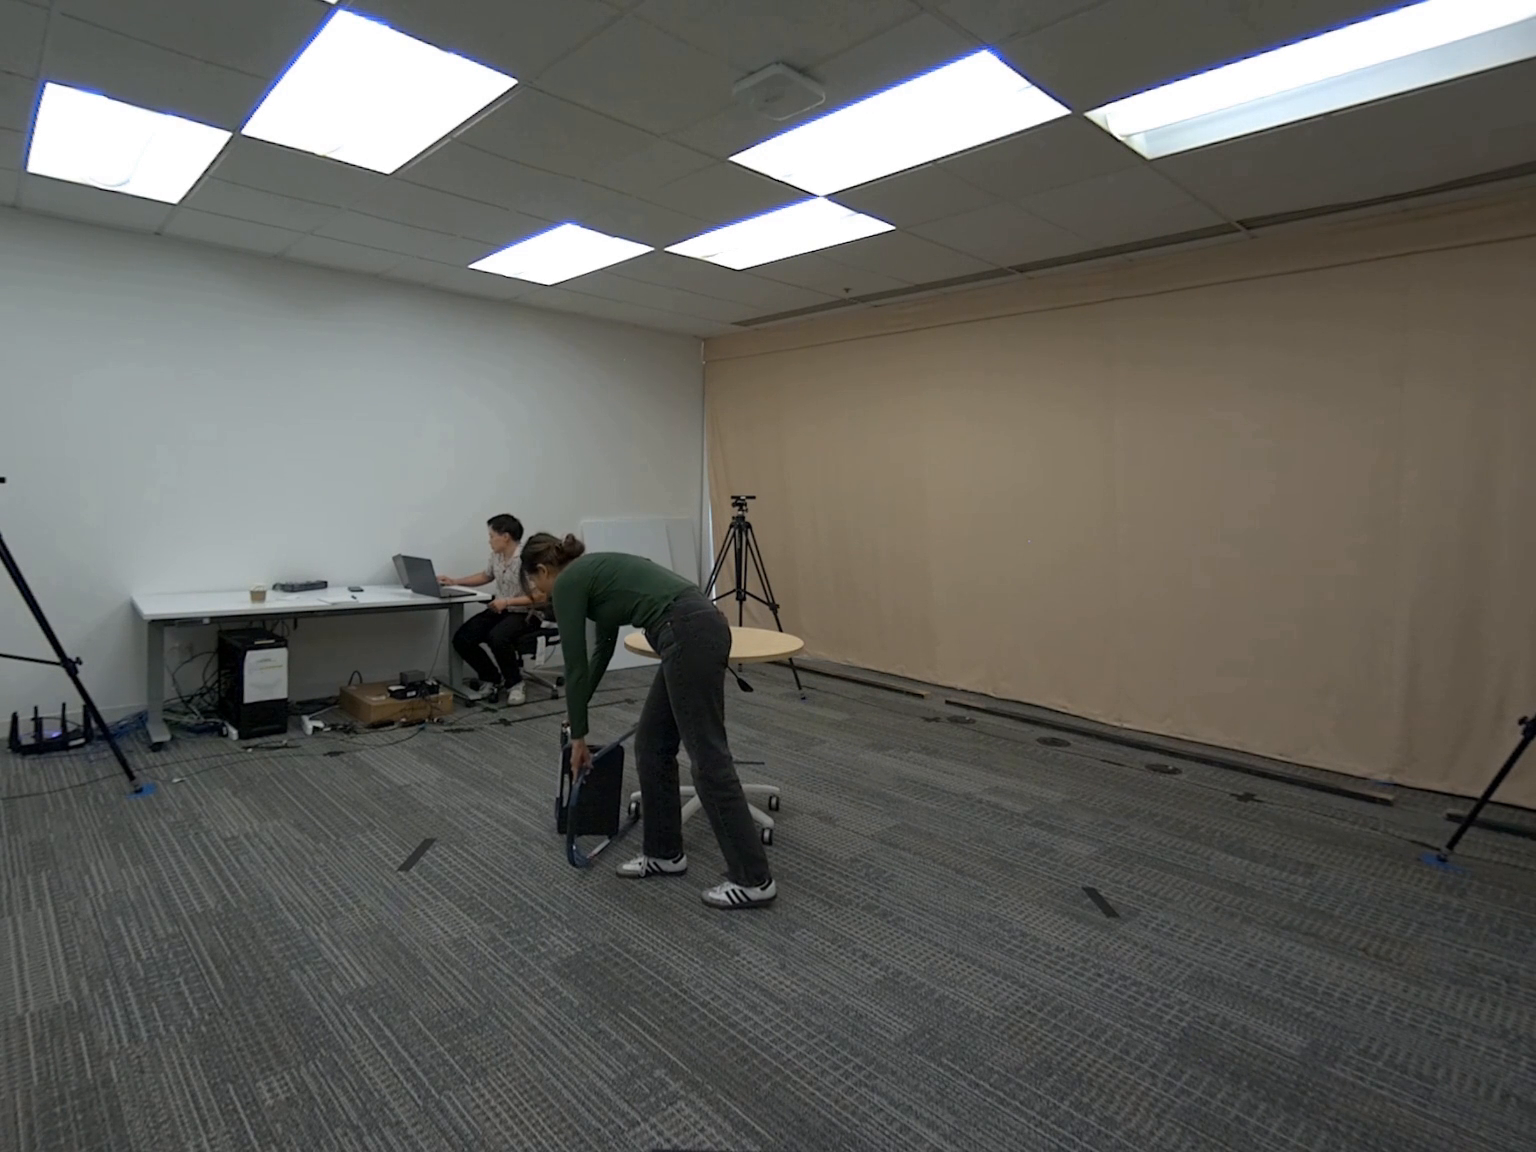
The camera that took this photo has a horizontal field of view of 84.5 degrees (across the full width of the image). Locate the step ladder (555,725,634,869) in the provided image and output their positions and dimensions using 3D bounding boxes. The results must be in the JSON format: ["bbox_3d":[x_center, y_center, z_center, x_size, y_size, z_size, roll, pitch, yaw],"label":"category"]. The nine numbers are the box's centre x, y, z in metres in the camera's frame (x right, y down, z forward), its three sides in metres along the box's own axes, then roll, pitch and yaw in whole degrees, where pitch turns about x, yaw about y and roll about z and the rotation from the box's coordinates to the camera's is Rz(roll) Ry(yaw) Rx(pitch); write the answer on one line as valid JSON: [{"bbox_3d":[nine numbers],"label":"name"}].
[{"bbox_3d":[-0.667,0.837,3.255,0.347,0.430,0.611,3,3,-9],"label":"step ladder"}]
